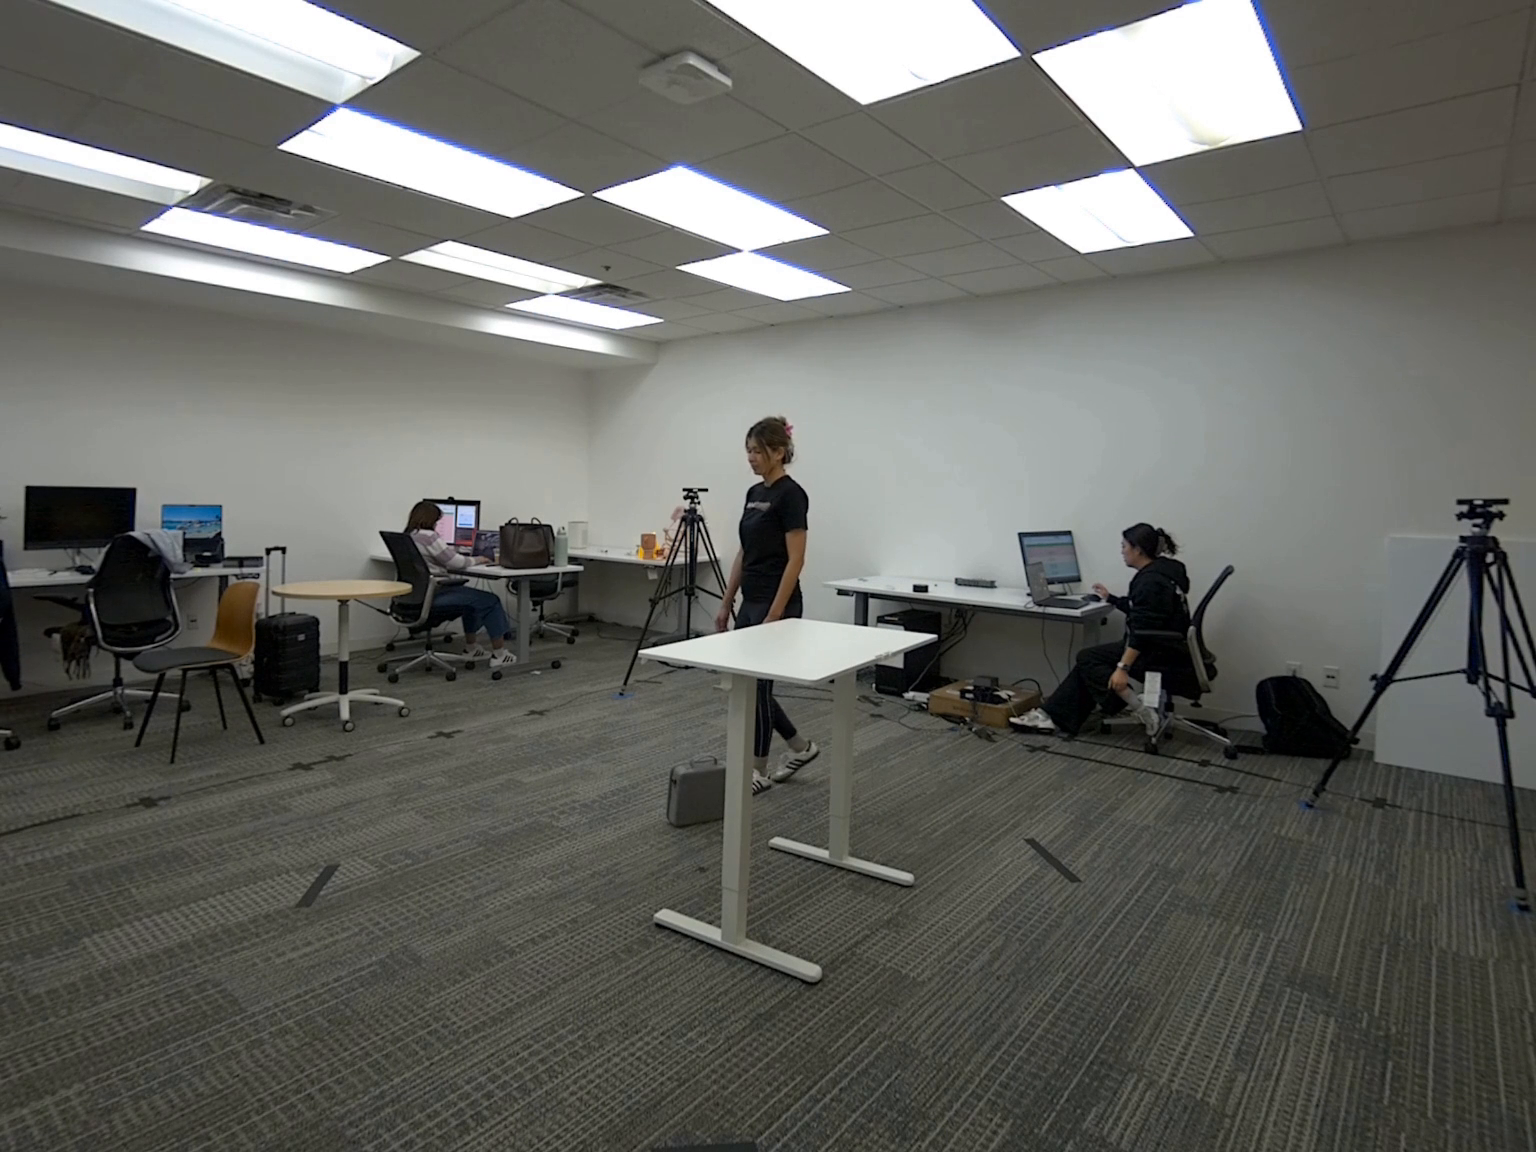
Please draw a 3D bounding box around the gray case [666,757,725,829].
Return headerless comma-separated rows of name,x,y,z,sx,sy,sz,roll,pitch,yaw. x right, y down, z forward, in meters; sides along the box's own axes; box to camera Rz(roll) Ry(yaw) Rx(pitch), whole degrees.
gray case,-0.302,0.890,3.554,0.250,0.258,0.108,-1,12,-28
